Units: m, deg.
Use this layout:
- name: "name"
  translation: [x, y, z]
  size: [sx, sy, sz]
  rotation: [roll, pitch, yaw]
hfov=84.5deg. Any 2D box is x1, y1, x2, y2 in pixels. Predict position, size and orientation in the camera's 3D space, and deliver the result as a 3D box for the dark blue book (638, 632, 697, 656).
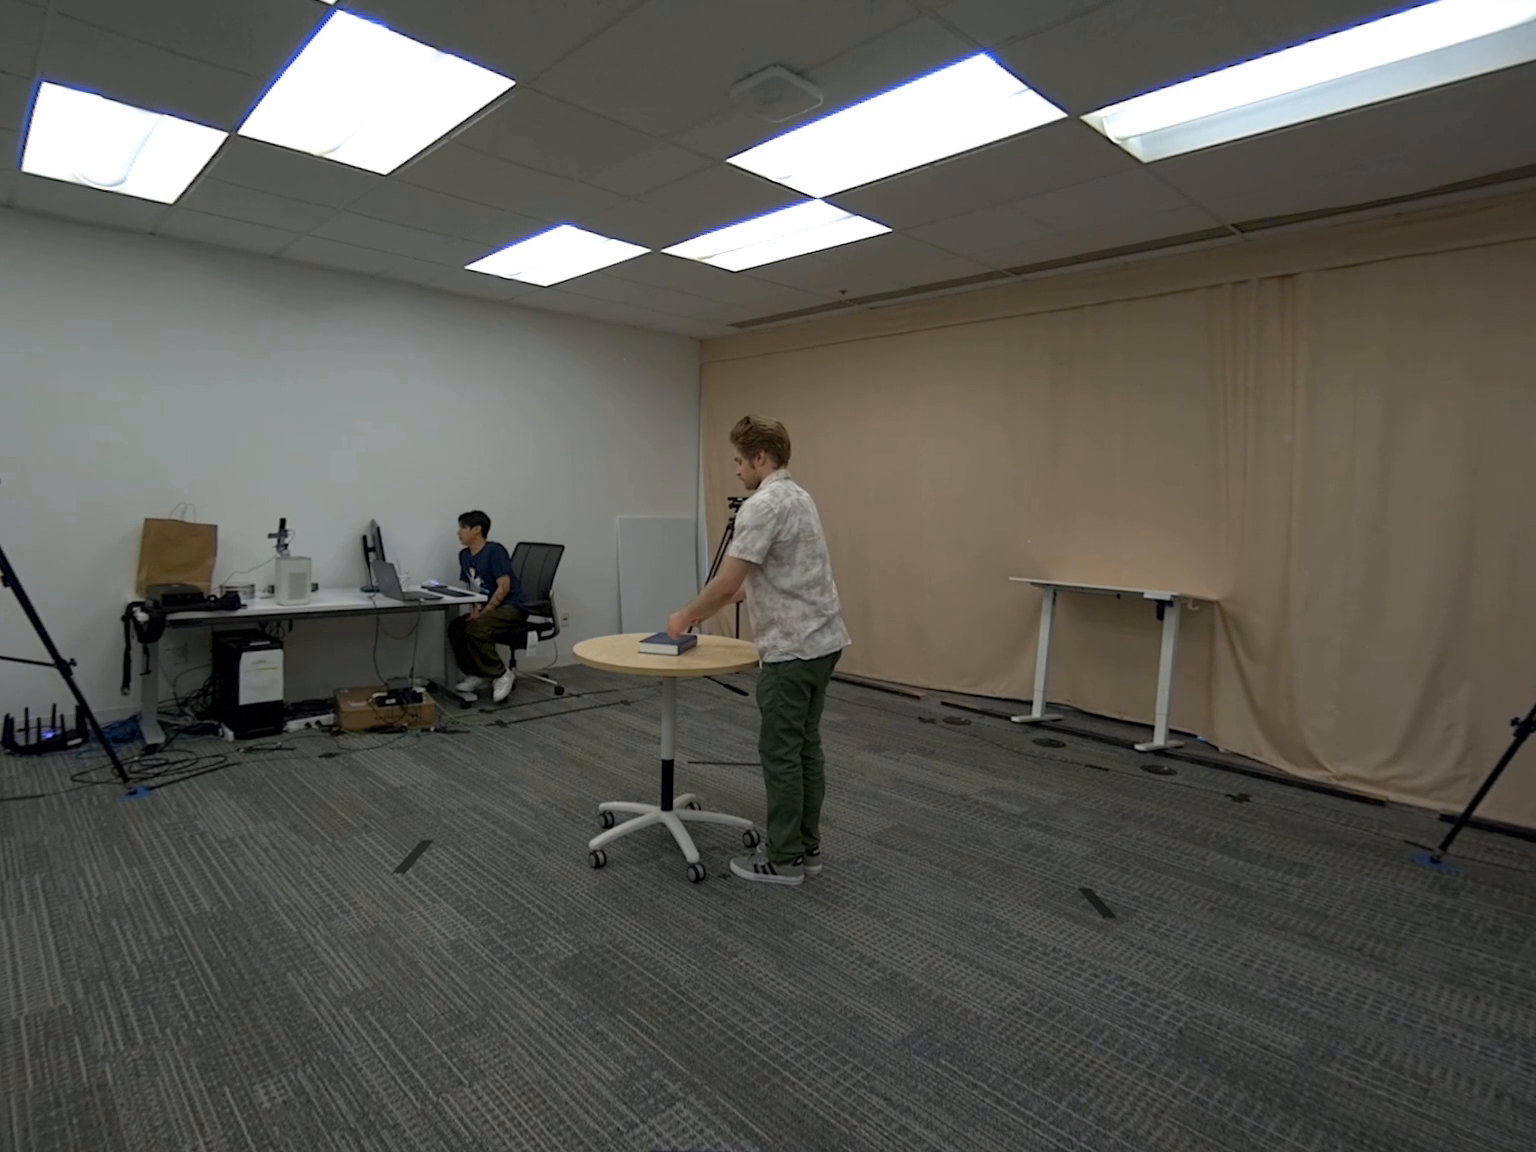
- name: "dark blue book"
  translation: [-0.402, 0.266, 3.333]
  size: [0.165, 0.045, 0.243]
  rotation: [3, 6, 13]
